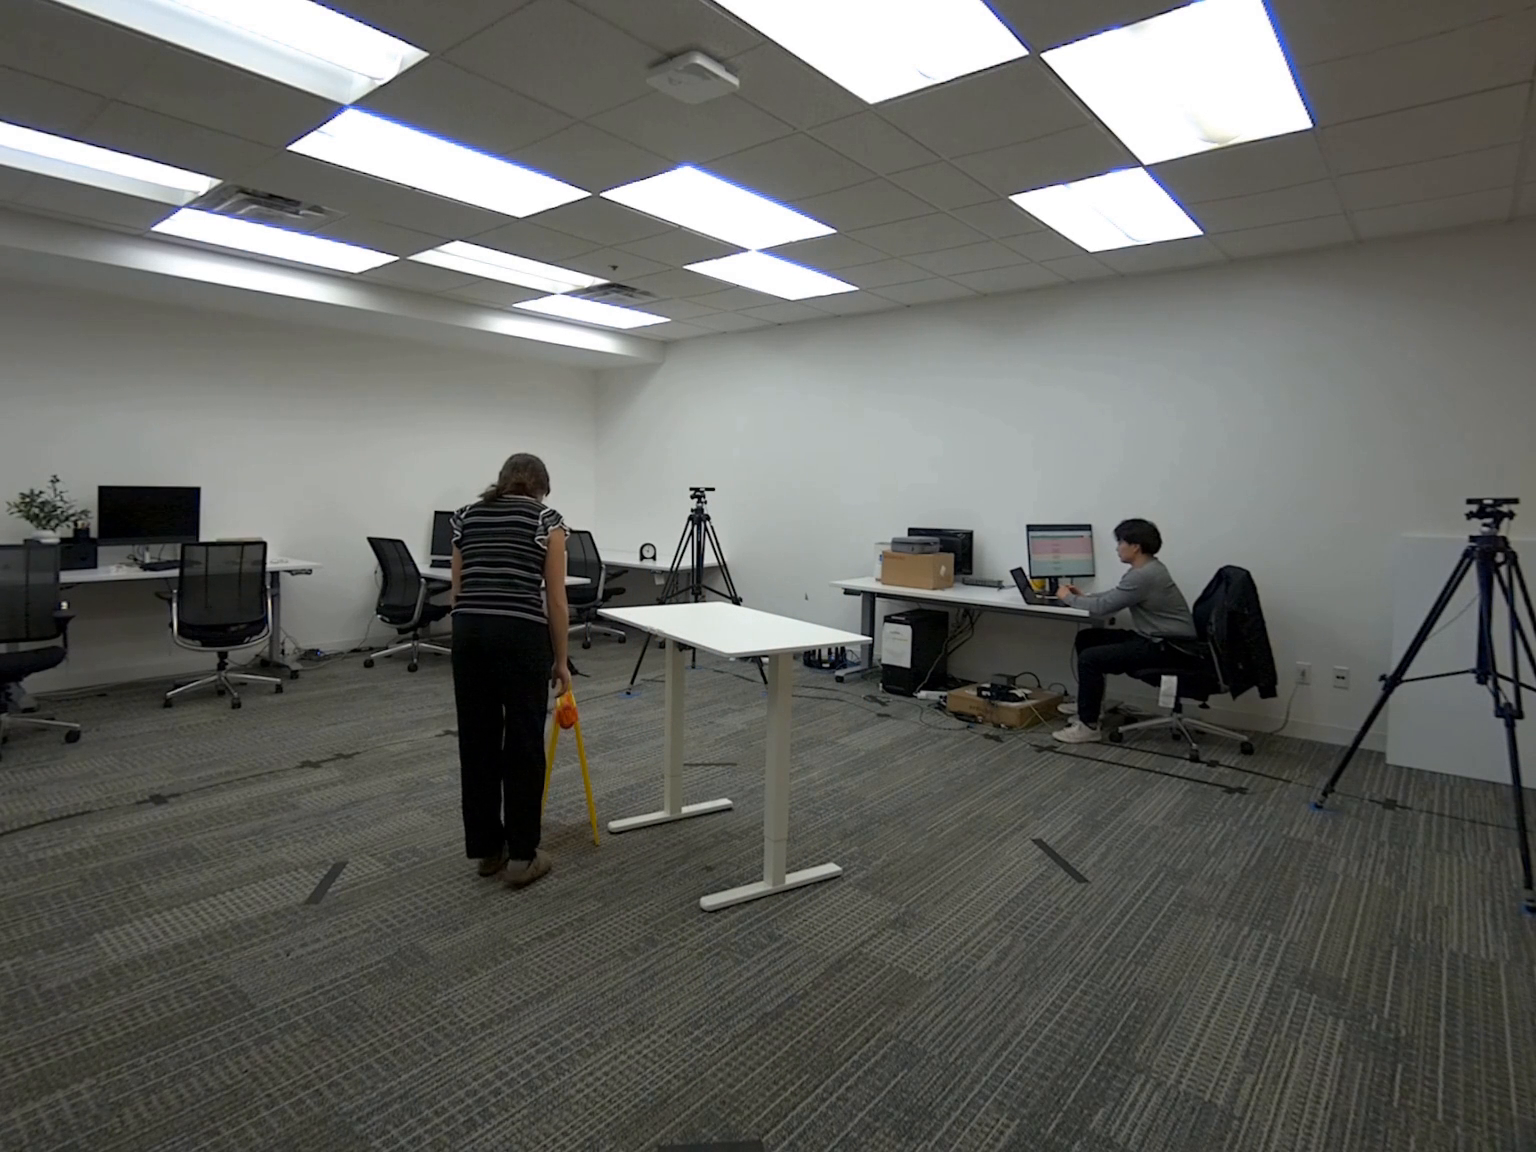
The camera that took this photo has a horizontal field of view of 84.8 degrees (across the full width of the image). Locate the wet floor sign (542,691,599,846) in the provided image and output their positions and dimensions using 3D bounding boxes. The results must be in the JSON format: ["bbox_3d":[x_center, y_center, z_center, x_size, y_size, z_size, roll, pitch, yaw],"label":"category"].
[{"bbox_3d":[-0.822,0.703,3.384,0.285,0.644,0.287,0,3,-15],"label":"wet floor sign"}]
